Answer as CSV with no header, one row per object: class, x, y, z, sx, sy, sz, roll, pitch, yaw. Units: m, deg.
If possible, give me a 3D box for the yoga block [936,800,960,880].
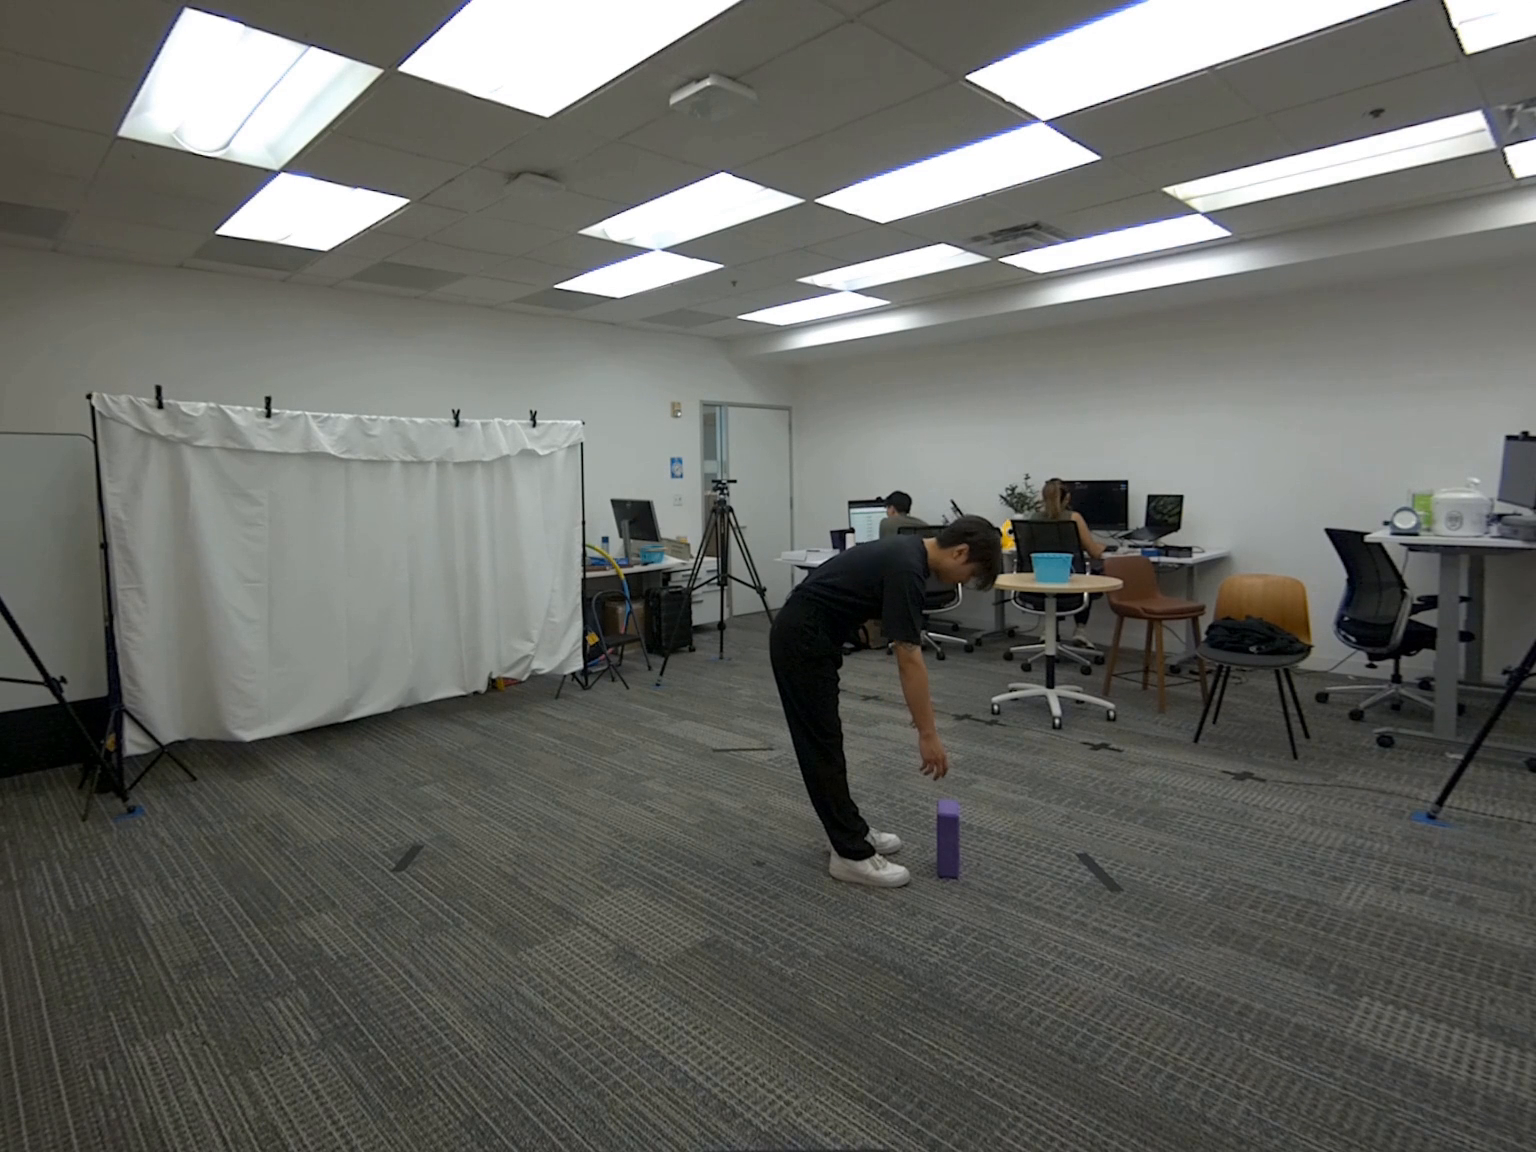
yoga block,0.631,0.926,3.026,0.077,0.229,0.148,1,4,10
